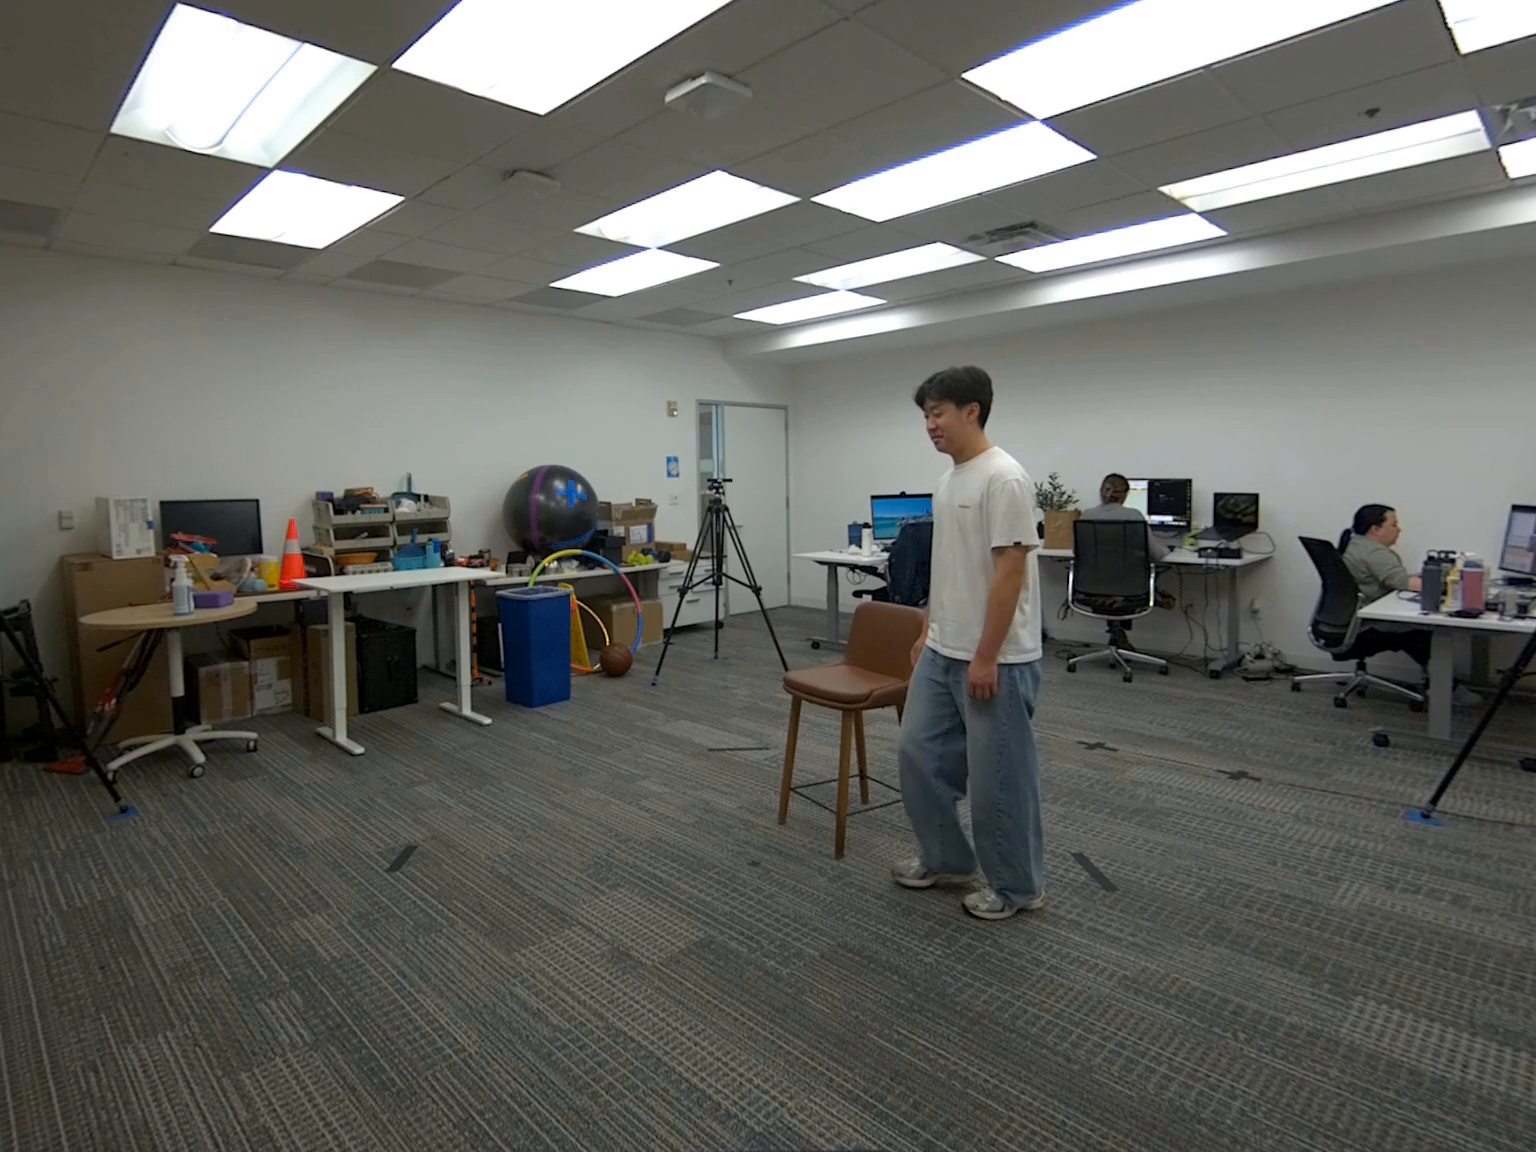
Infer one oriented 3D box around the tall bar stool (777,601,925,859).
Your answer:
[{"bbox_3d":[0.334,0.572,3.391,0.456,0.887,0.469,-1,3,-32],"label":"tall bar stool"}]
